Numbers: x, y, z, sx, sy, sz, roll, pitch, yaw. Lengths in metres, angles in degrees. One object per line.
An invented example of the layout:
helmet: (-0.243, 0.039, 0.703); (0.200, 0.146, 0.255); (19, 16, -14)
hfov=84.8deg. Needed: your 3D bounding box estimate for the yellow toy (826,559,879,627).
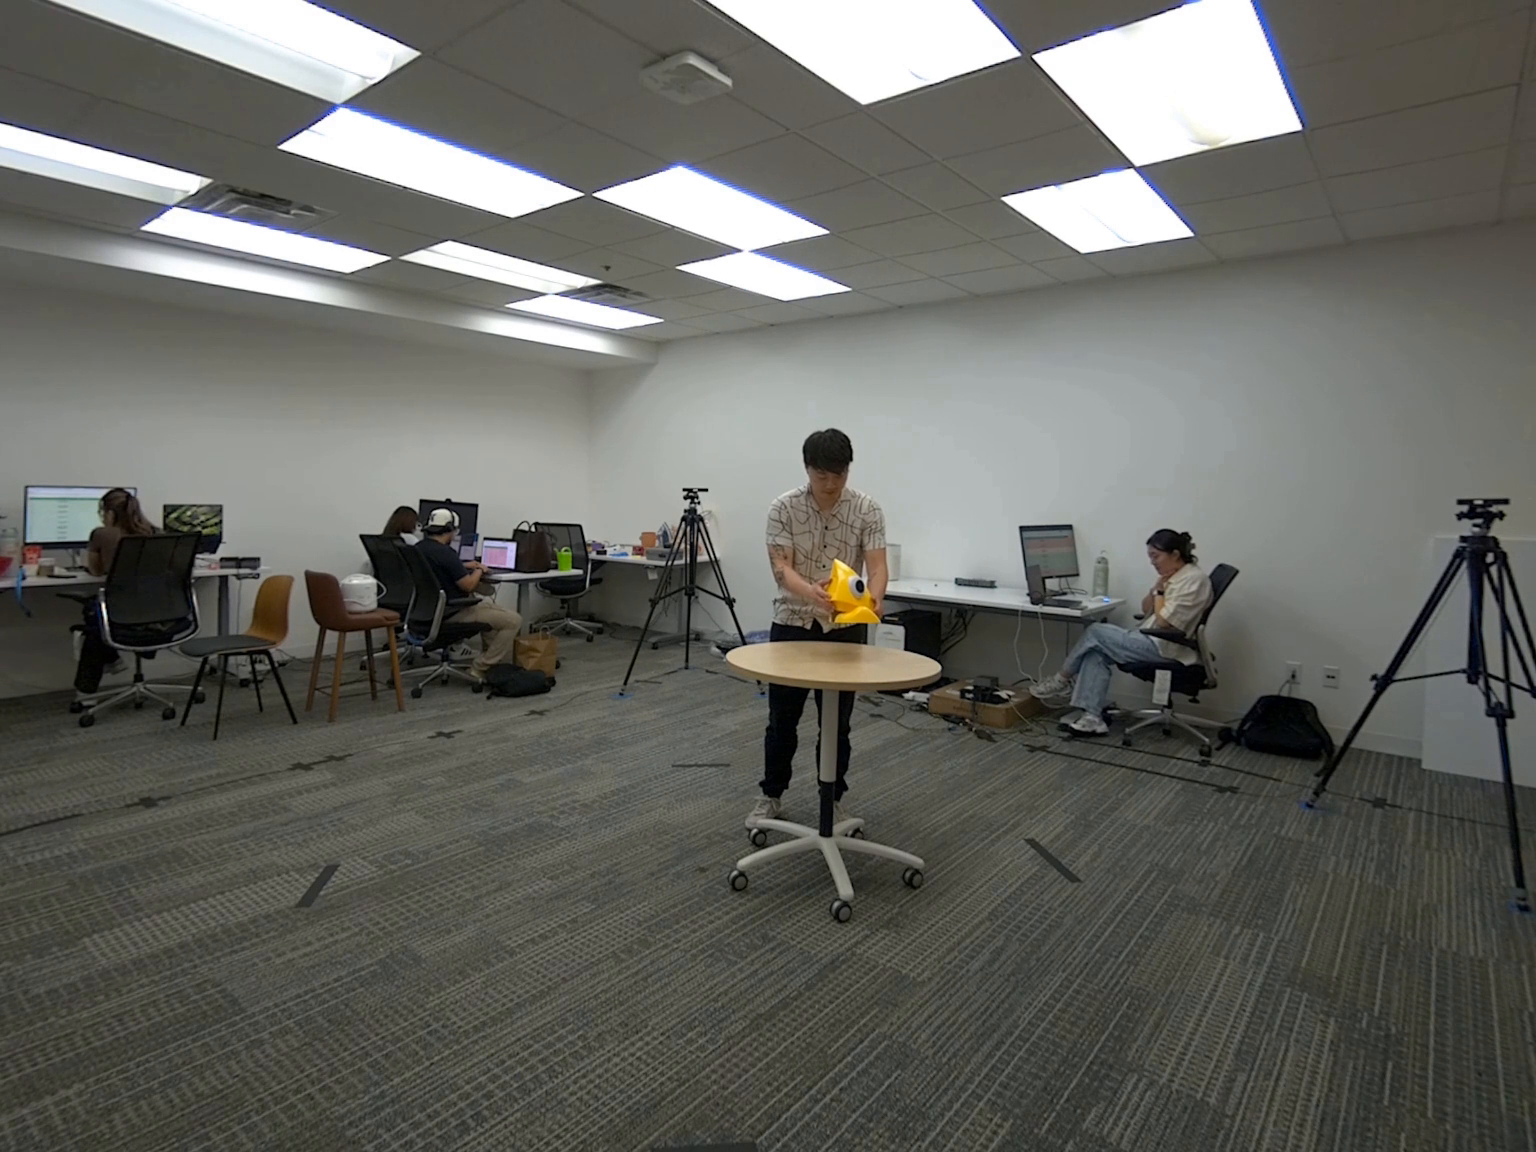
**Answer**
yellow toy: (0.300, 0.049, 3.099); (0.191, 0.232, 0.206); (2, -4, -10)
